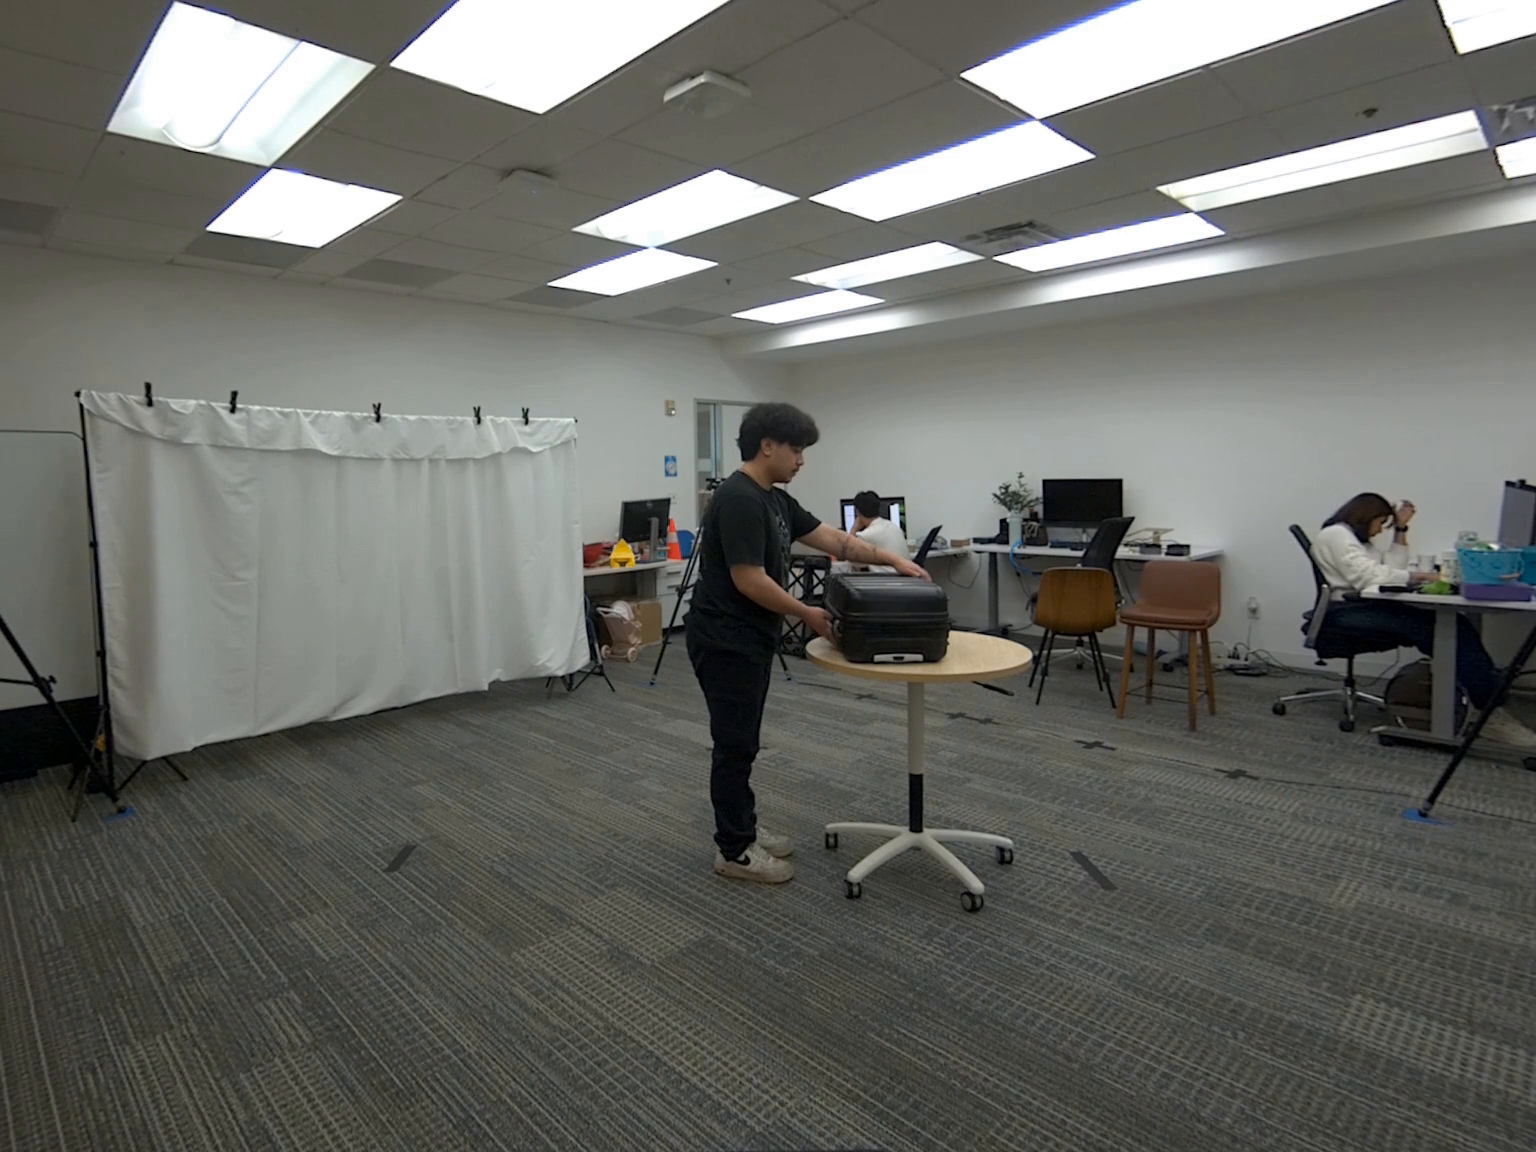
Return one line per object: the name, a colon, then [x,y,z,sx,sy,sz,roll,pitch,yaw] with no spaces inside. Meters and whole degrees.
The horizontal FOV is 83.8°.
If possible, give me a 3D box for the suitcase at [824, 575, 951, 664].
suitcase: [0.406,0.137,2.979,0.375,0.247,0.552,1,6,-1]
